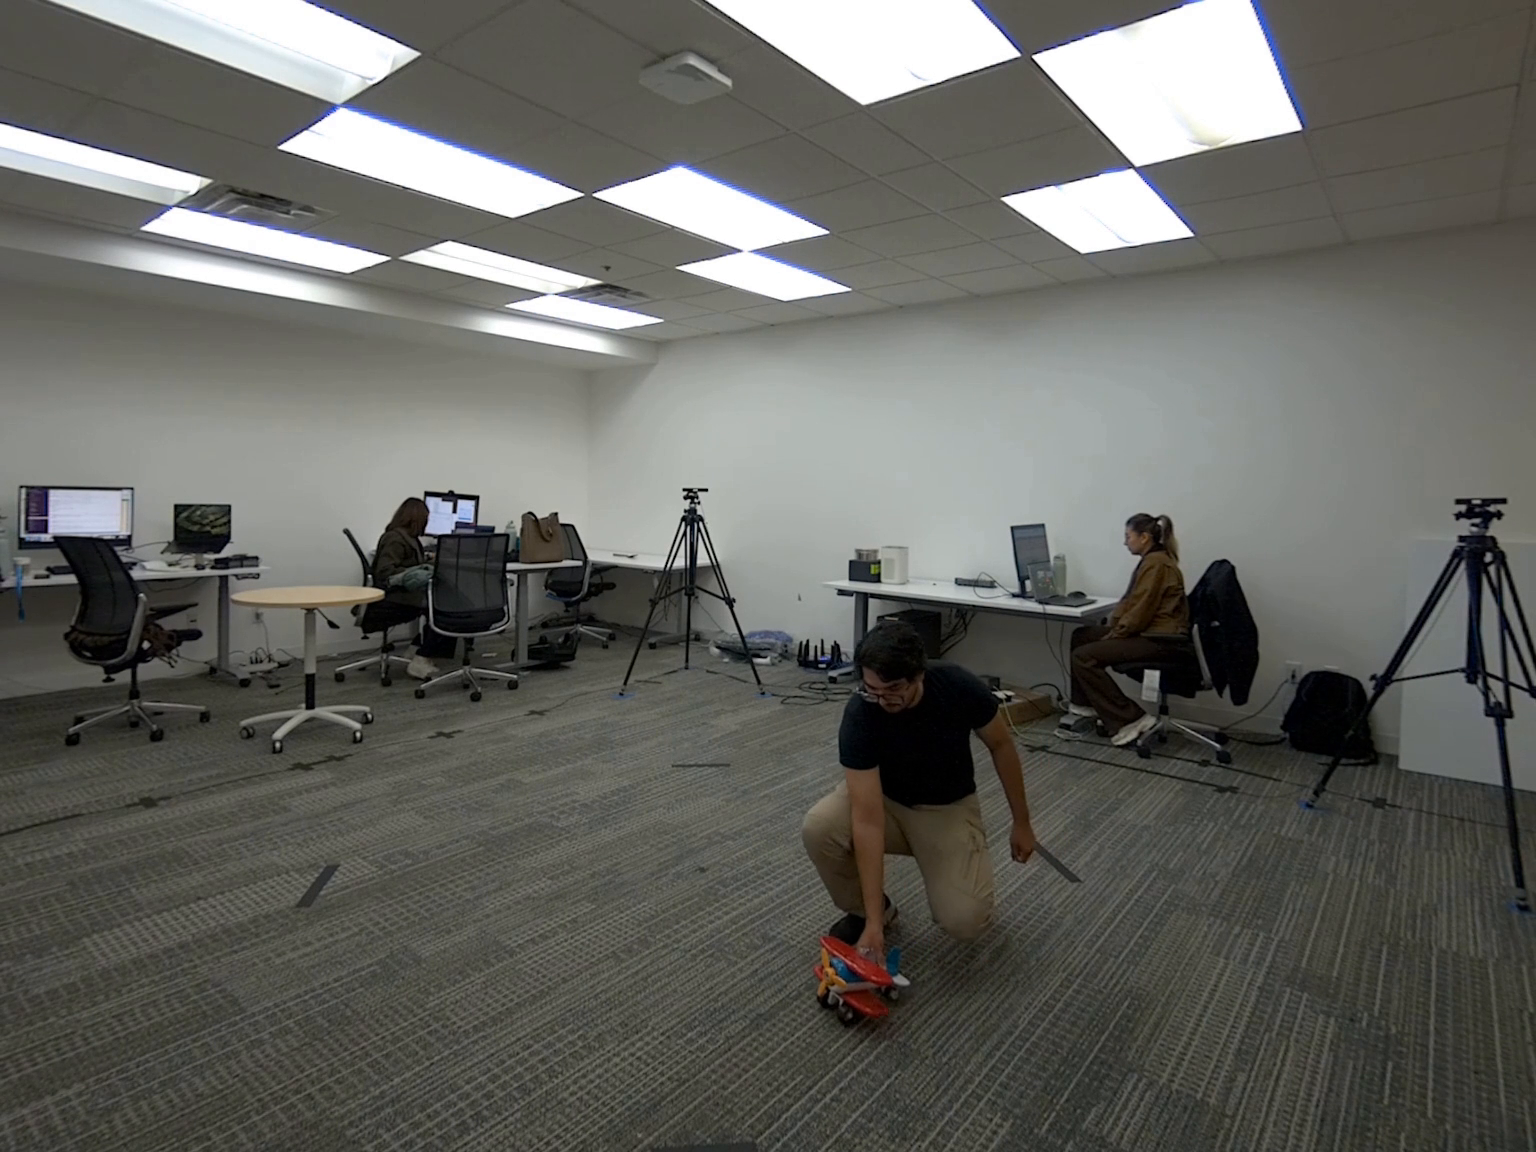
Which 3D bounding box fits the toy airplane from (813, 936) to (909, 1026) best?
[{"bbox_3d":[0.243,1.085,2.310,0.259,0.155,0.253,4,7,31],"label":"toy airplane"}]
